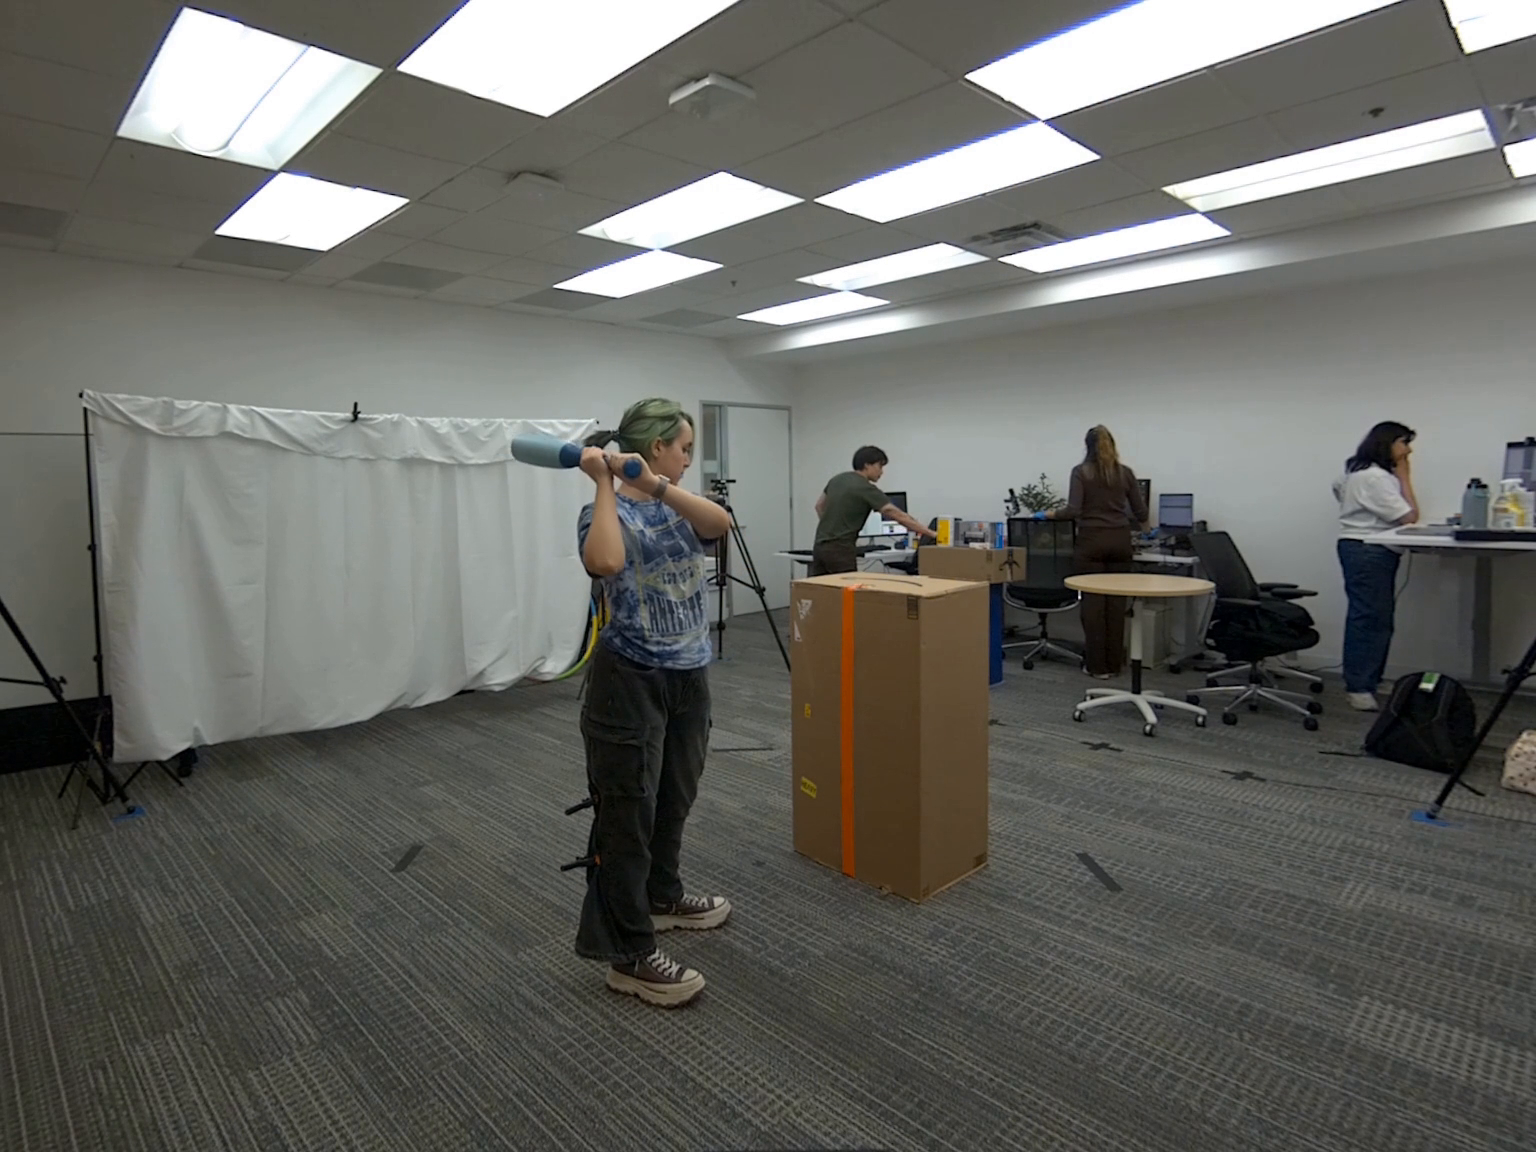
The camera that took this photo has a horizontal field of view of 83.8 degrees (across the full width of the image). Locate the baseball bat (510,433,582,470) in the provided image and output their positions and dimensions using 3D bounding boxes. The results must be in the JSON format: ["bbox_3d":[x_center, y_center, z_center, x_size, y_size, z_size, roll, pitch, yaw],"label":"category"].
[{"bbox_3d":[-0.503,-0.321,2.290,0.562,0.088,0.087,15,14,42],"label":"baseball bat"}]
